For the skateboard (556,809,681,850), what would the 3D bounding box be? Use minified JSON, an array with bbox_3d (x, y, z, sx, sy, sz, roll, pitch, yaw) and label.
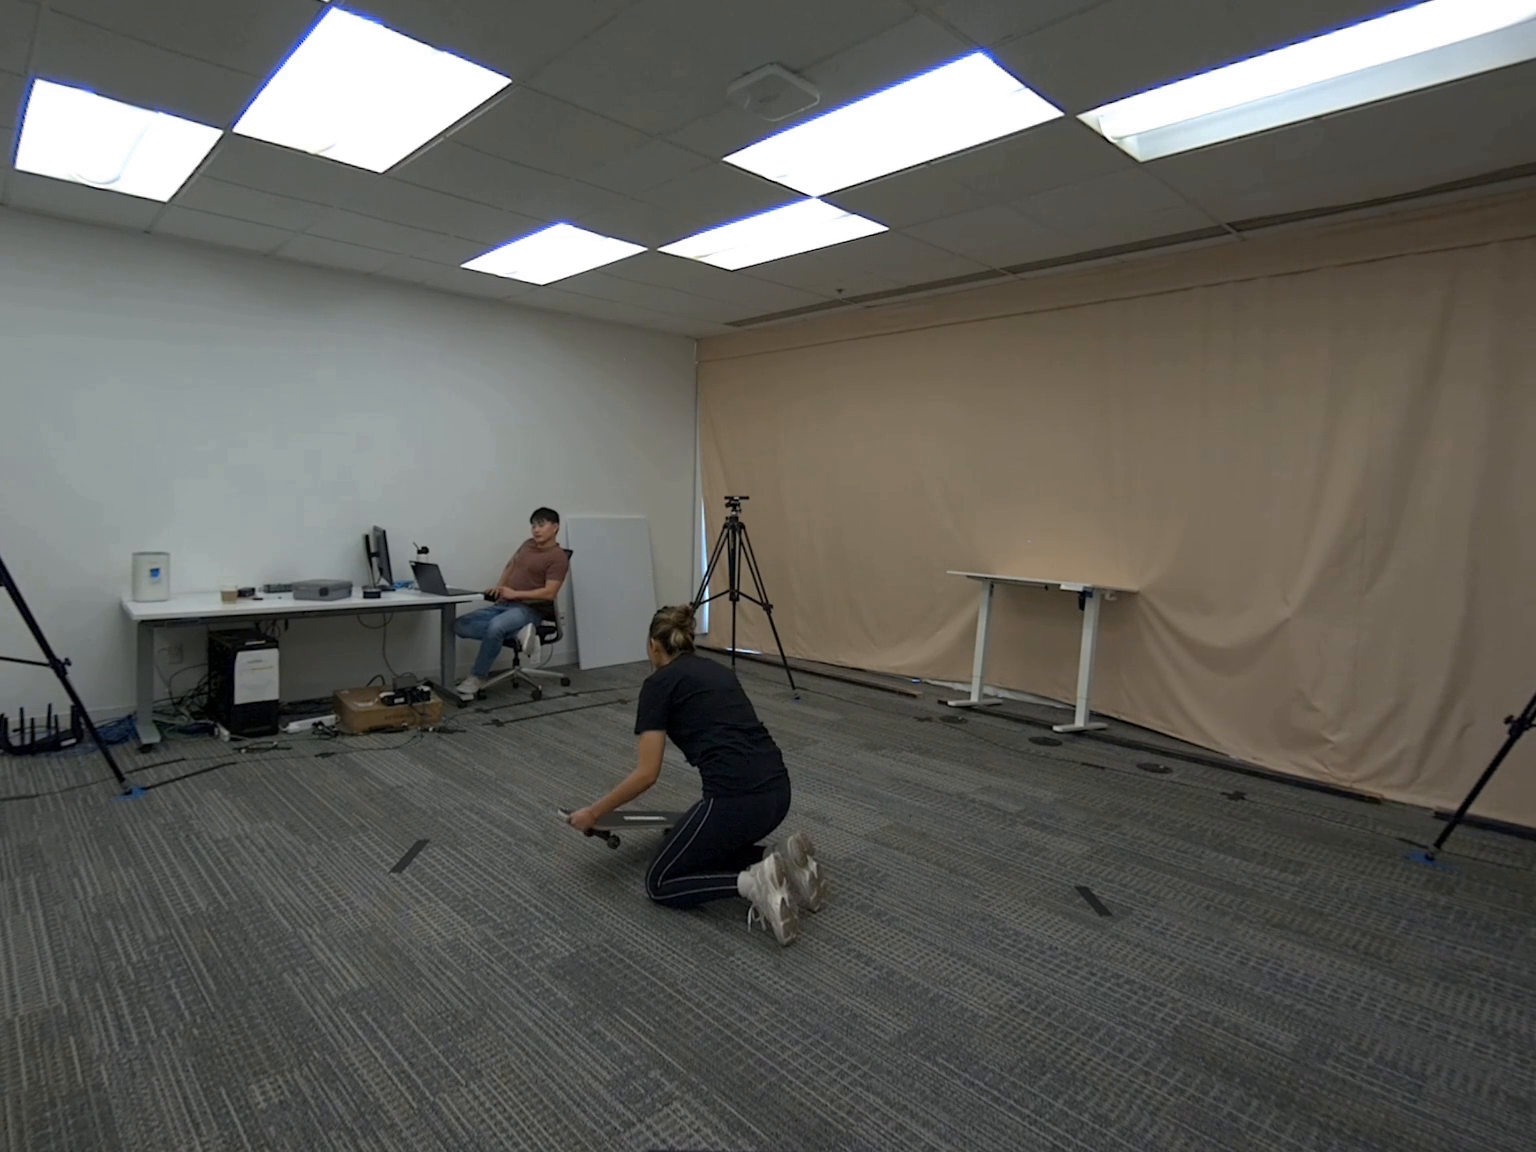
[{"bbox_3d":[-0.489,0.983,3.279,0.198,0.110,0.763,8,-6,44],"label":"skateboard"}]
